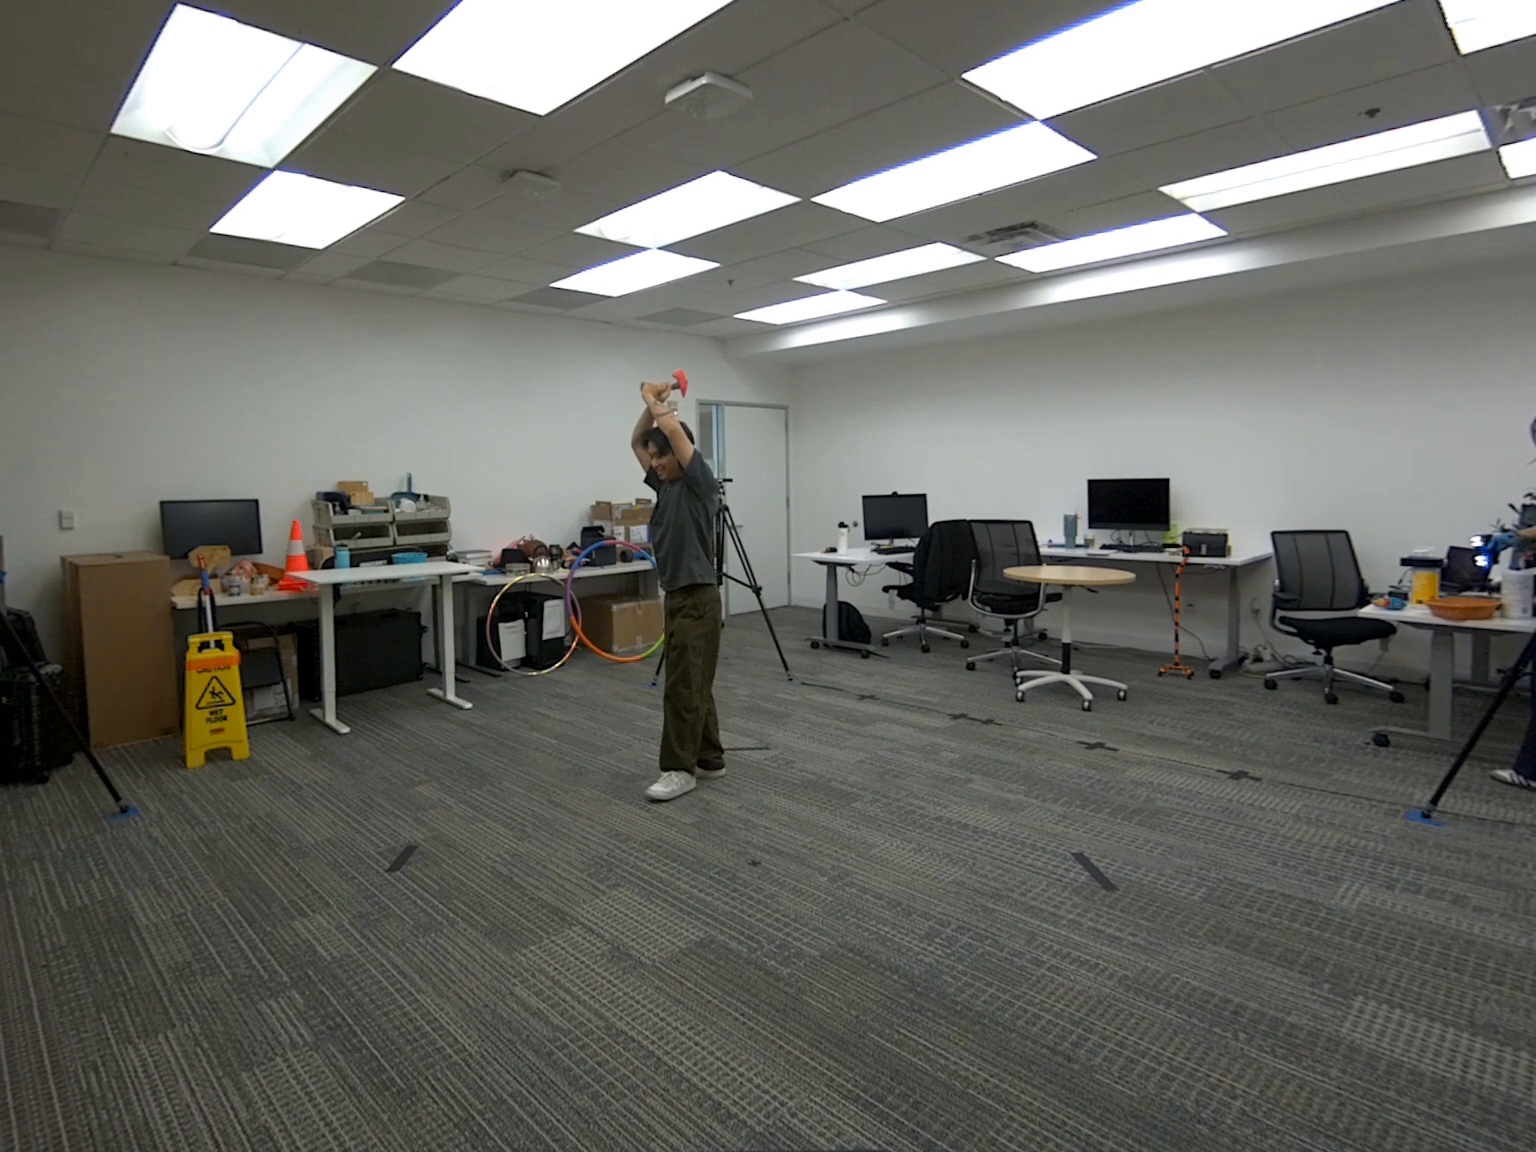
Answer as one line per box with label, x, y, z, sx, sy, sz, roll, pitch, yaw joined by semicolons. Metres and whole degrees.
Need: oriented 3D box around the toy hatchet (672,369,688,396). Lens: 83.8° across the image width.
toy hatchet;-0.472;-0.889;3.898;0.262;0.130;0.031;-1;18;-41
